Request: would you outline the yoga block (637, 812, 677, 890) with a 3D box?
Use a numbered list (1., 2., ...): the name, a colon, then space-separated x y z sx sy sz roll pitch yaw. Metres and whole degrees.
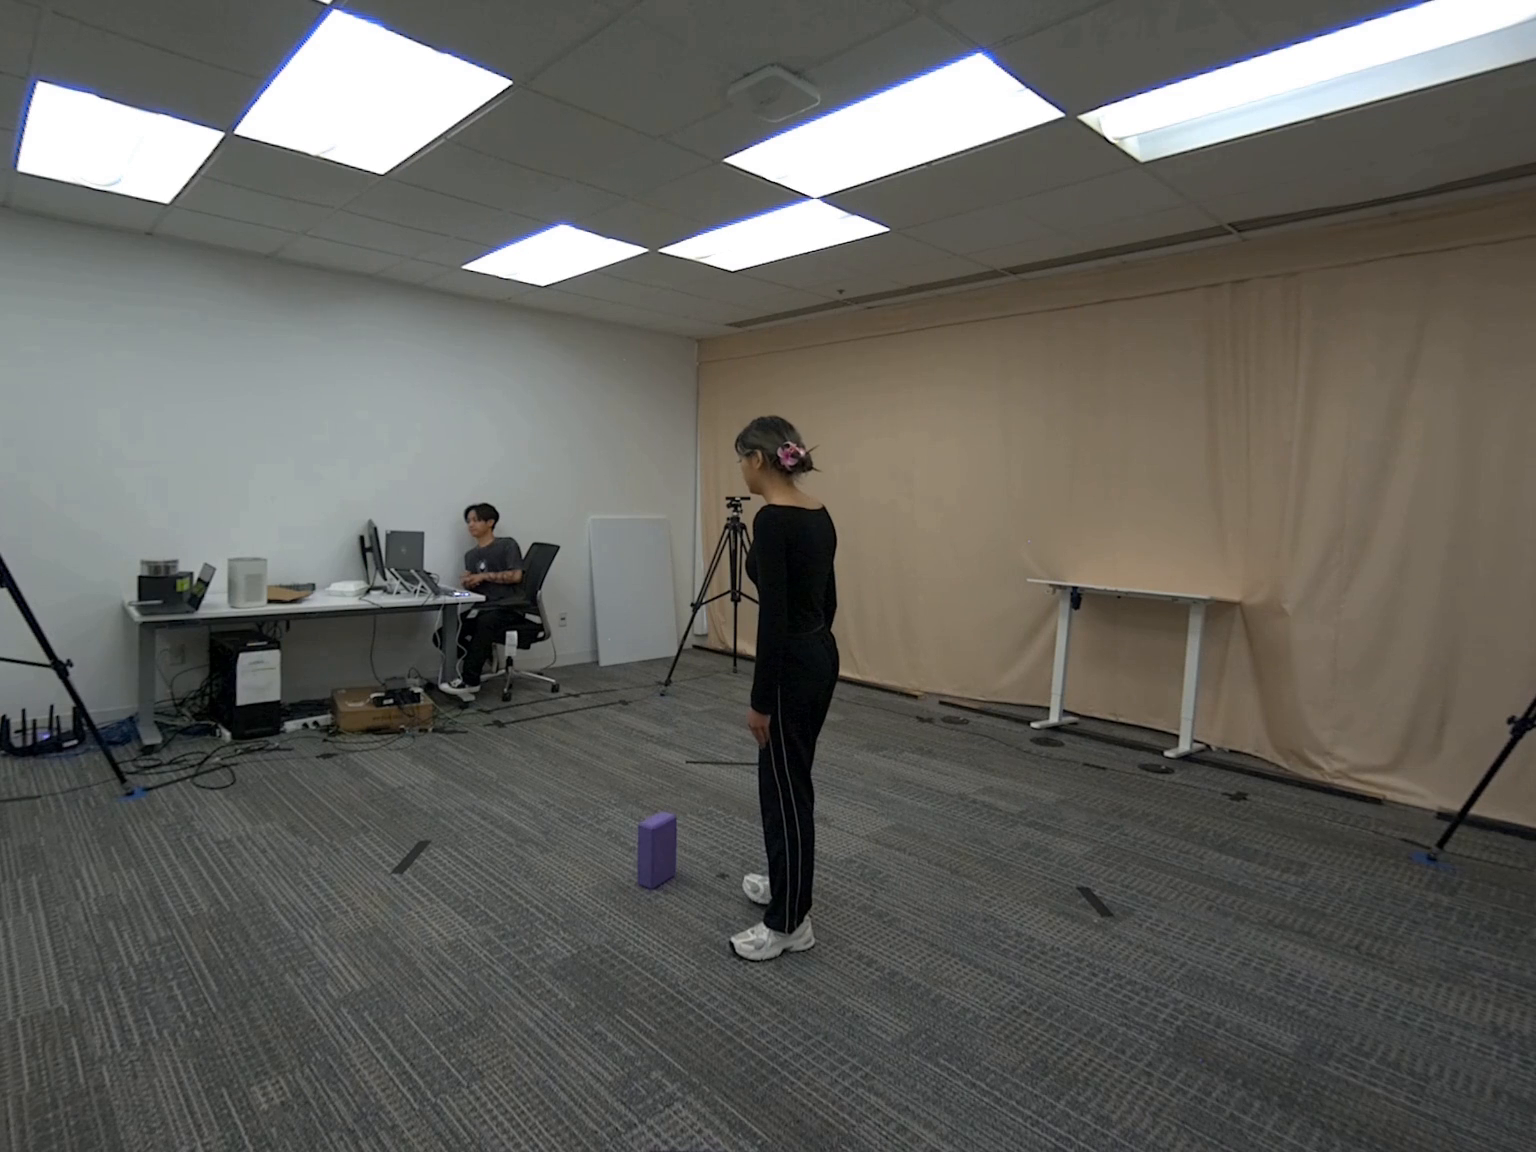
1. yoga block: -0.408 0.992 3.043 0.078 0.229 0.146 2 5 29
